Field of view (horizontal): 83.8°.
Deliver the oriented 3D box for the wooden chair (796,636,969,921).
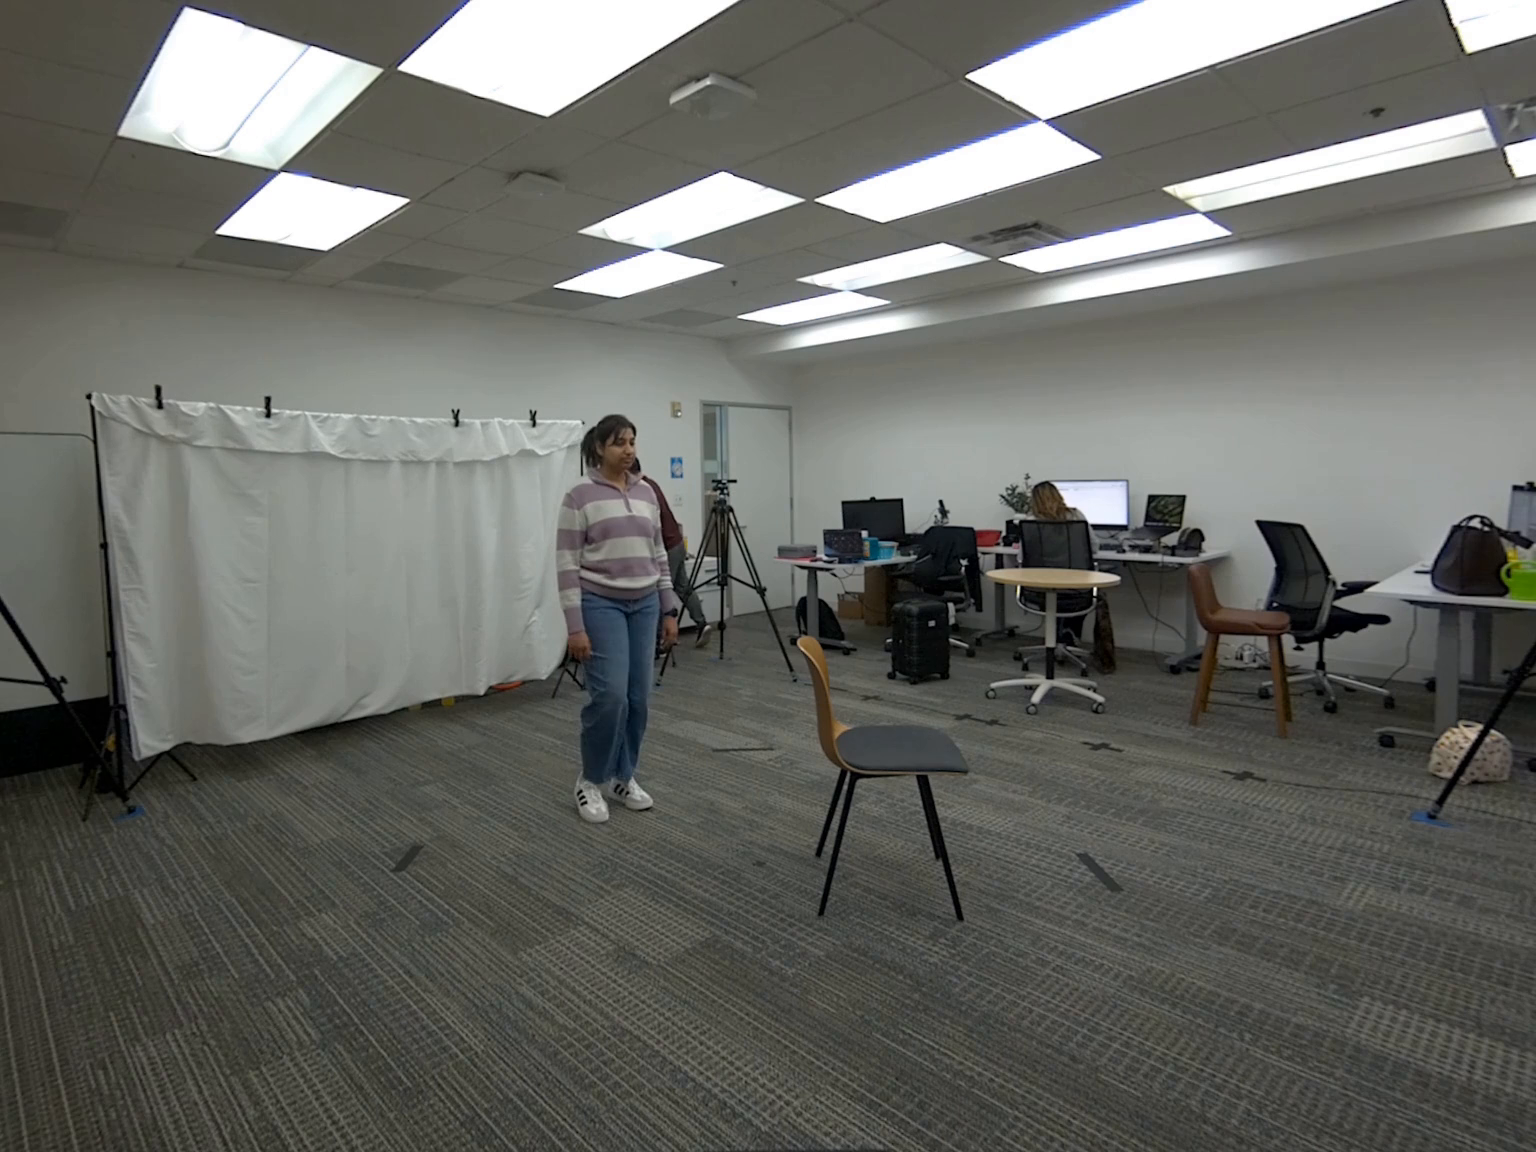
[{"bbox_3d":[0.396,0.634,2.898,0.525,0.875,0.478,-5,3,4],"label":"wooden chair"}]
